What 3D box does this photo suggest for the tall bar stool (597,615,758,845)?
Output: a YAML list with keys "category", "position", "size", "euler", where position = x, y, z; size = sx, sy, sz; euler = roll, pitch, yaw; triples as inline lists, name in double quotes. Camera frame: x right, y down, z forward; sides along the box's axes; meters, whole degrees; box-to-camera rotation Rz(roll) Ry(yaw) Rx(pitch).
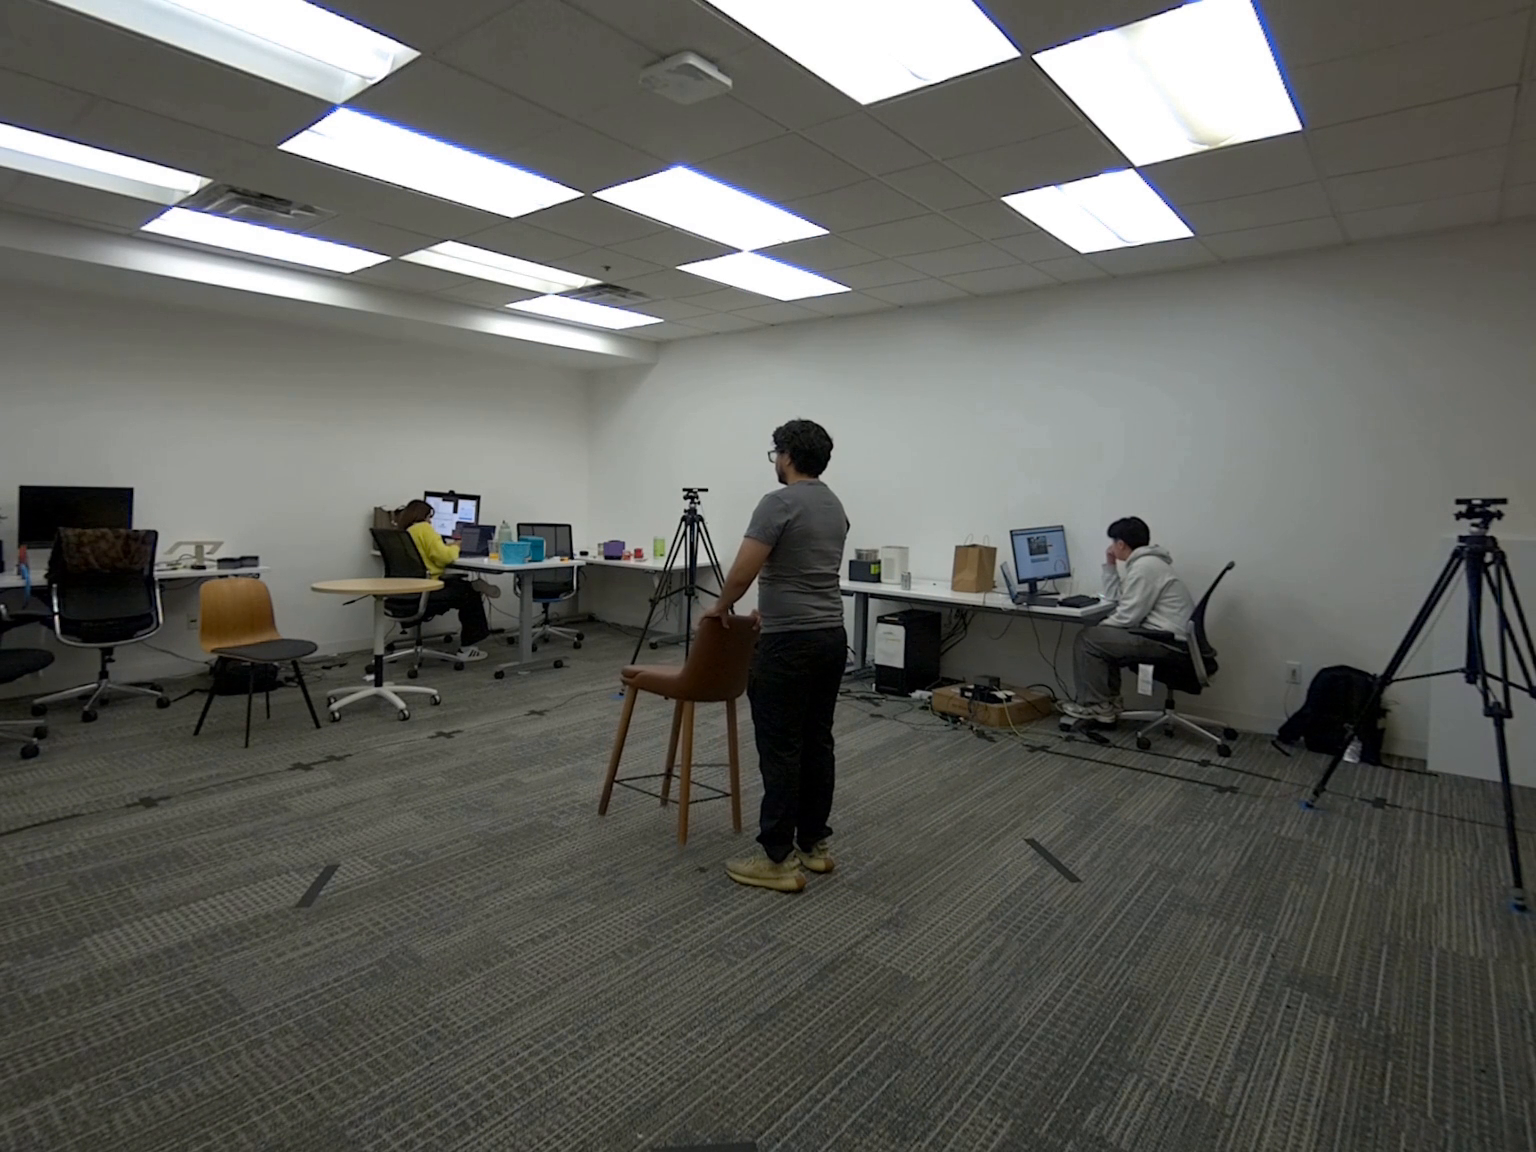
- category: "tall bar stool"
  position: [-0.349, 0.569, 3.491]
  size: [0.483, 0.891, 0.440]
  euler: [7, -2, 37]
